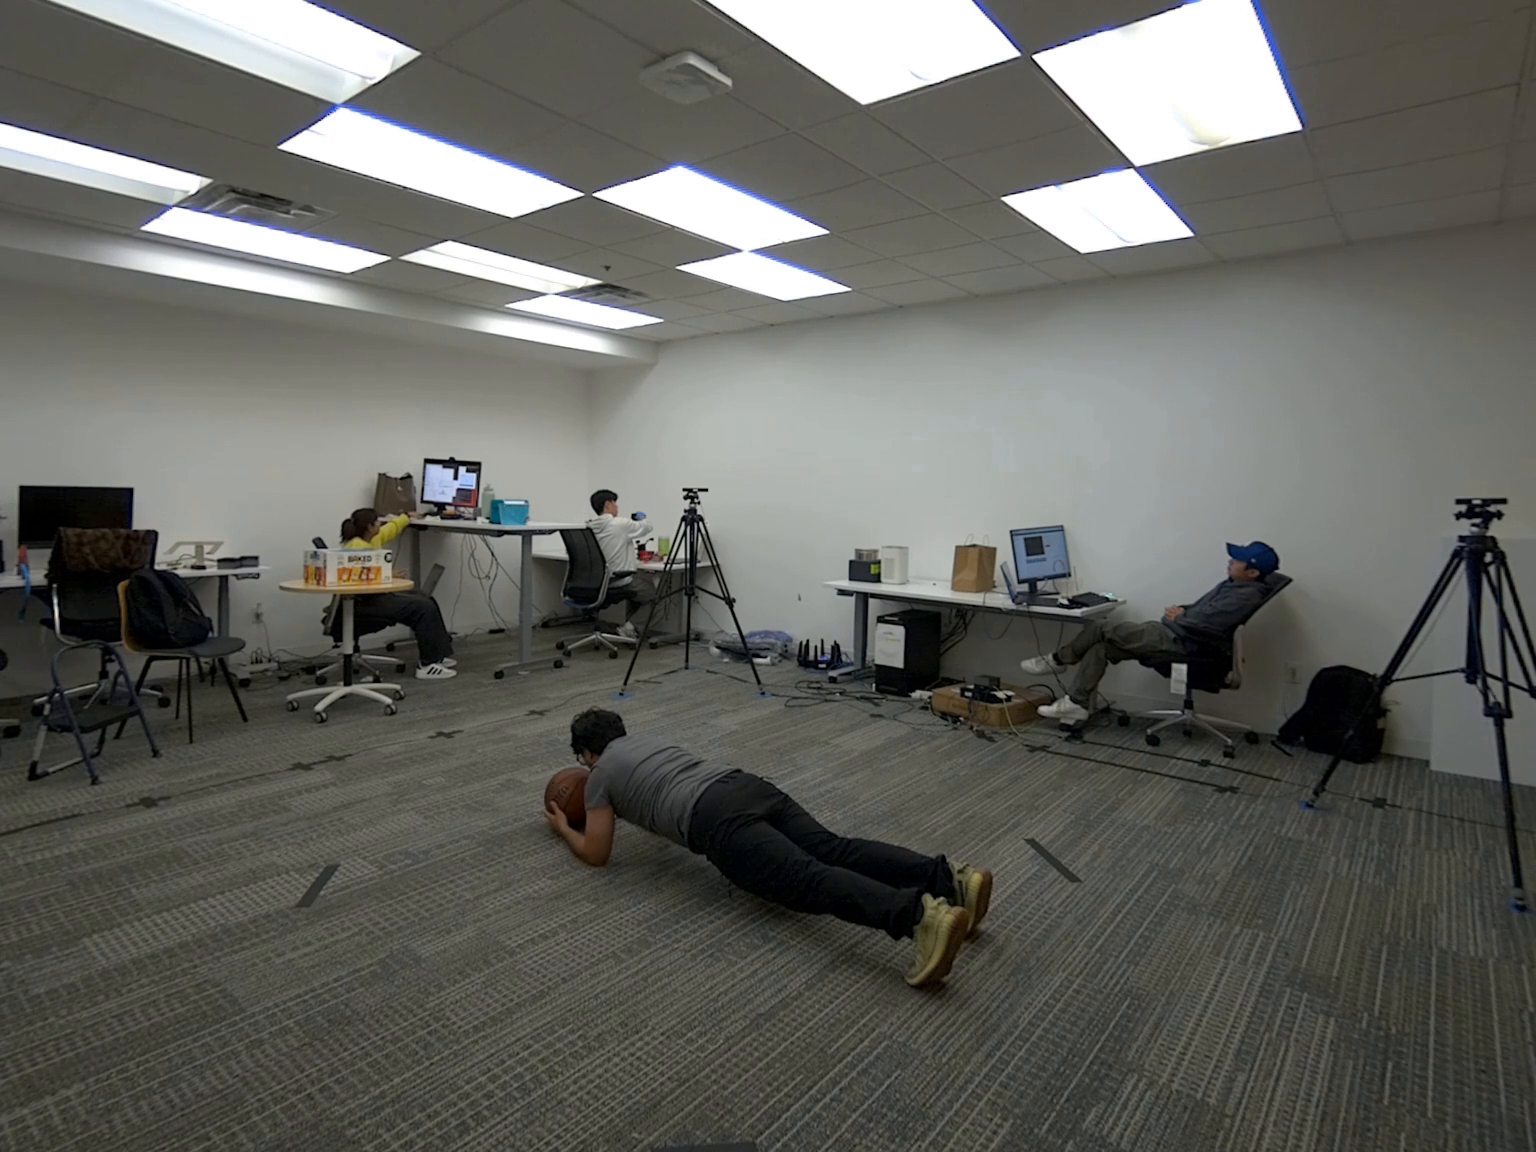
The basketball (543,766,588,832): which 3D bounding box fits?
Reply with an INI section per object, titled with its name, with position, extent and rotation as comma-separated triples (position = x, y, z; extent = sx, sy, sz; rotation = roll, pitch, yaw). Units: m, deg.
[basketball]
position = -0.808, 0.903, 3.490
extent = 0.235, 0.235, 0.237
rotation = 1, 4, -2
